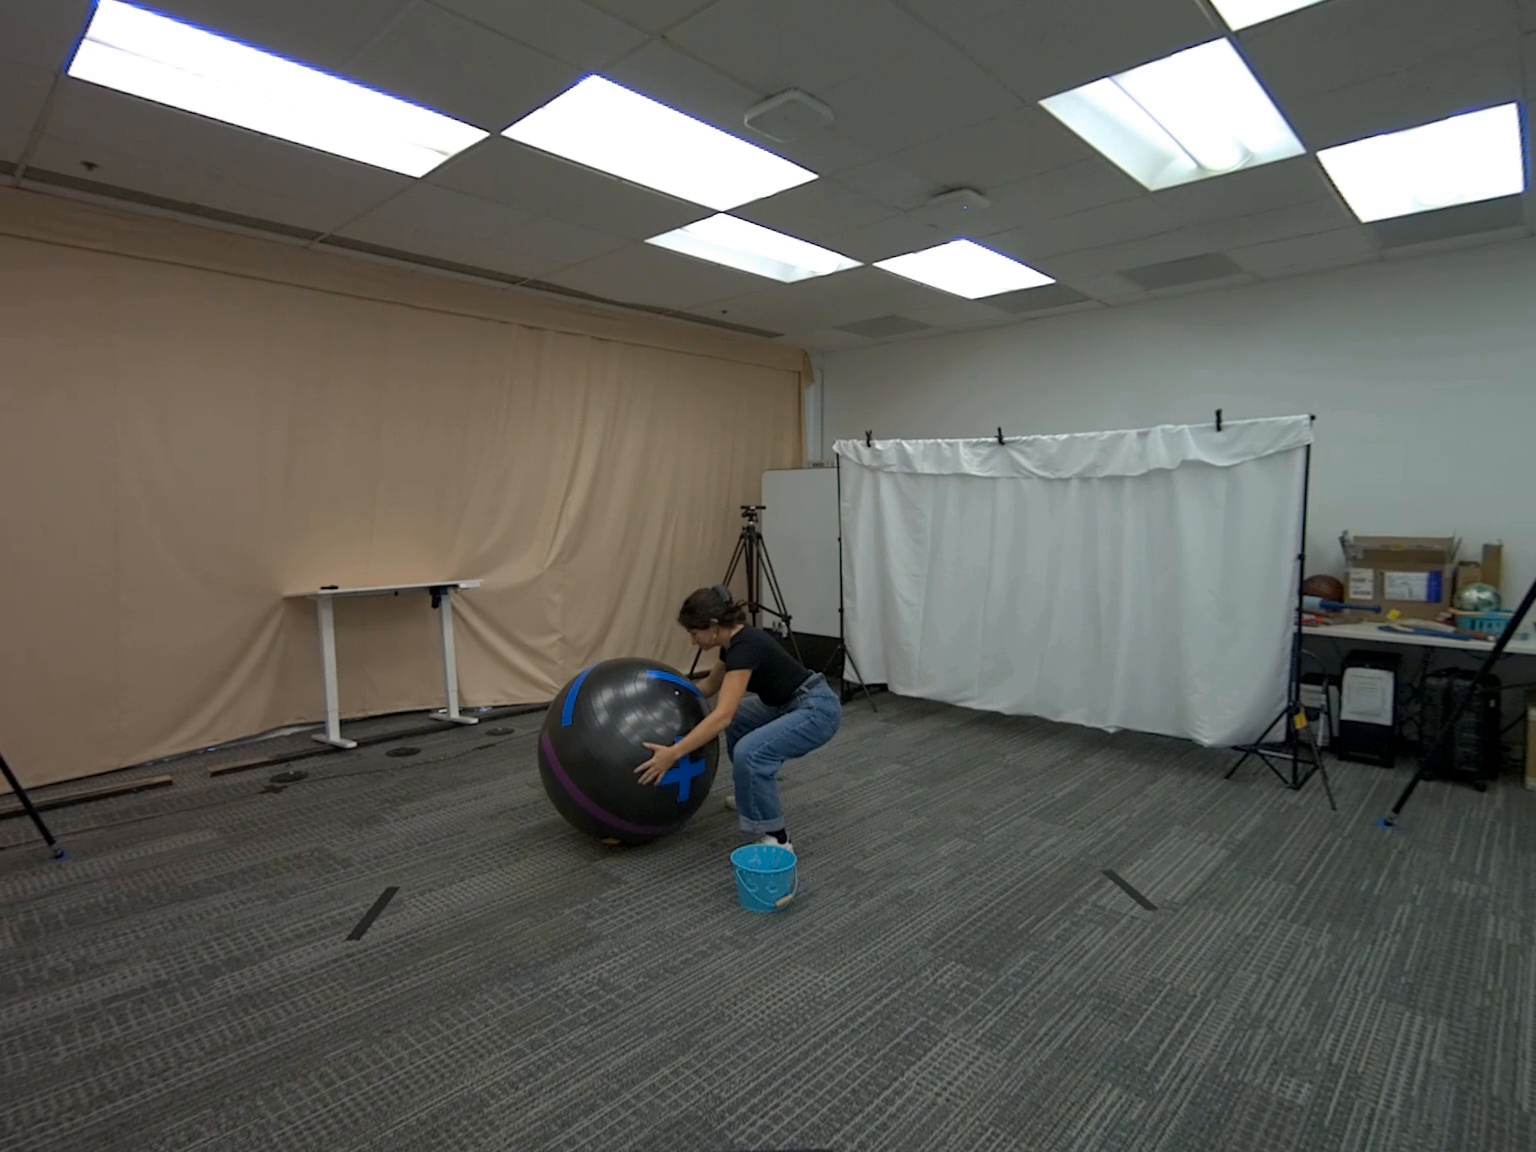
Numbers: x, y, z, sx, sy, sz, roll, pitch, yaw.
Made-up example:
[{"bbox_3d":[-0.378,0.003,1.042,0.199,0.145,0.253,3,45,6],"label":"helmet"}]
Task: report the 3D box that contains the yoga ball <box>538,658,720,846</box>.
[{"bbox_3d":[-0.587,0.730,3.548,0.757,0.756,0.760,0,4,-2],"label":"yoga ball"}]
